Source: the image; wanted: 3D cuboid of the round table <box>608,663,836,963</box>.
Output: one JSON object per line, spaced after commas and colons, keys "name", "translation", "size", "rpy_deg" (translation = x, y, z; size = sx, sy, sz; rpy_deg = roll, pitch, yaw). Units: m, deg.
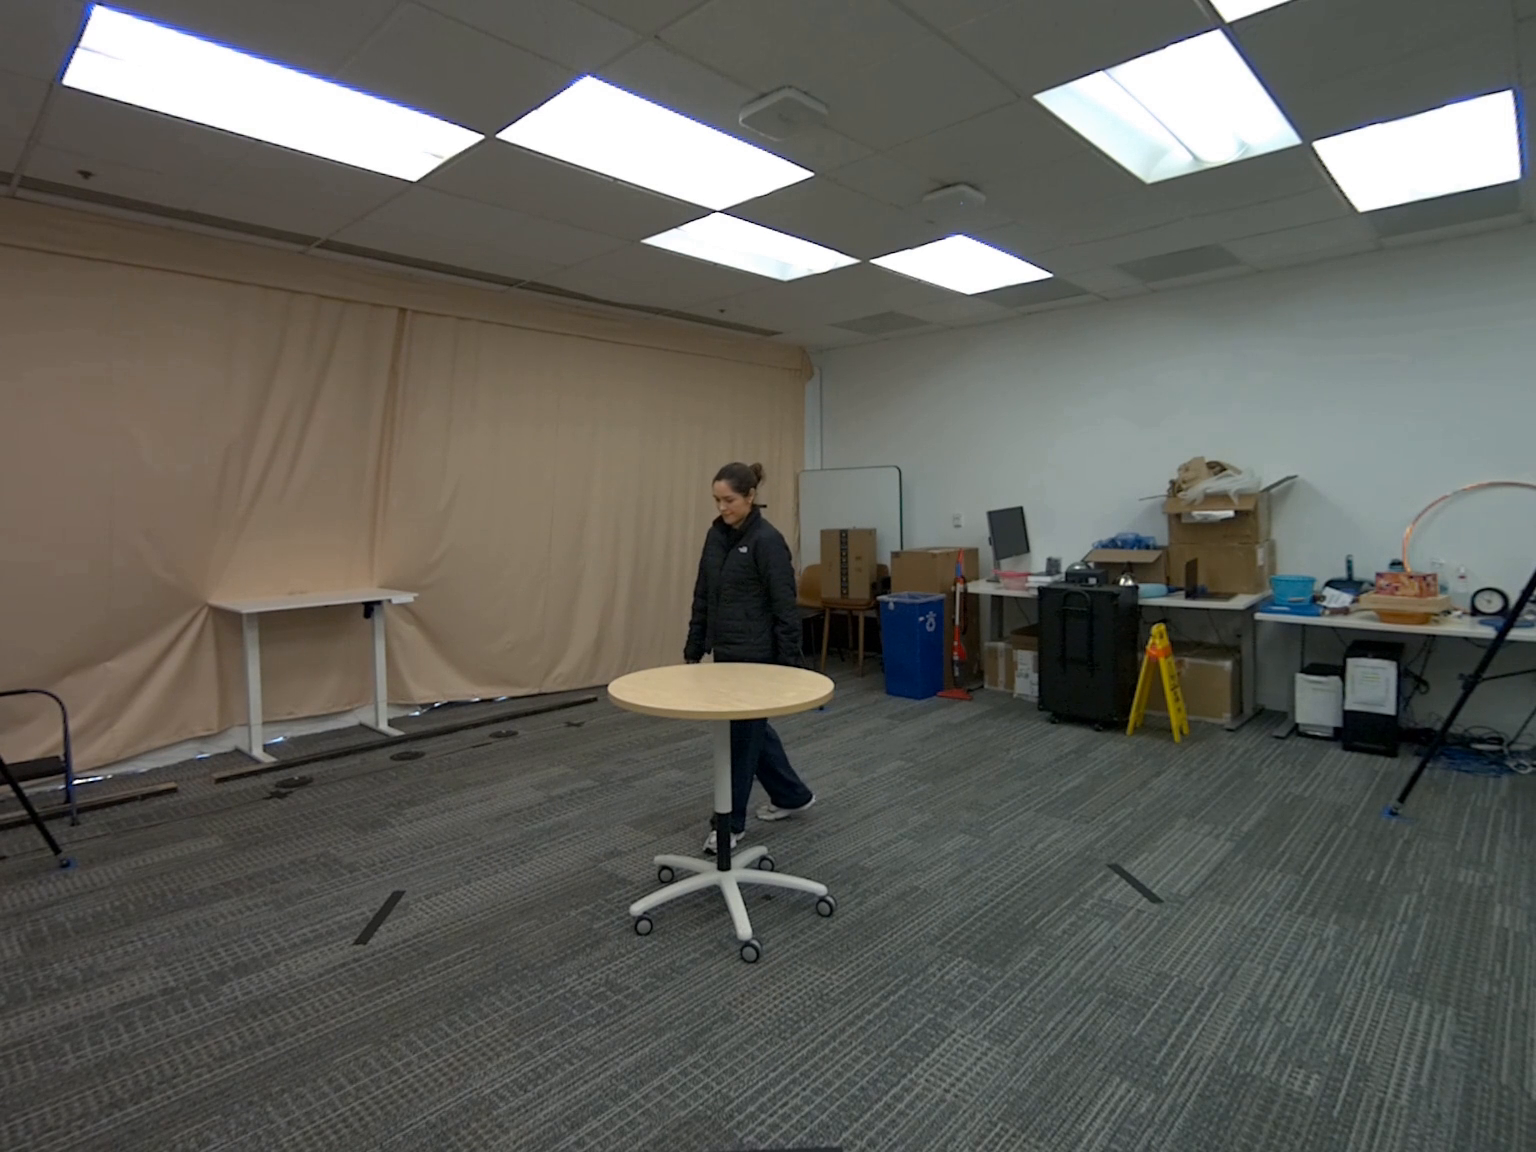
{"name": "round table", "translation": [-0.156, 0.751, 2.901], "size": [0.784, 0.785, 0.788], "rpy_deg": [-1, 4, -2]}
